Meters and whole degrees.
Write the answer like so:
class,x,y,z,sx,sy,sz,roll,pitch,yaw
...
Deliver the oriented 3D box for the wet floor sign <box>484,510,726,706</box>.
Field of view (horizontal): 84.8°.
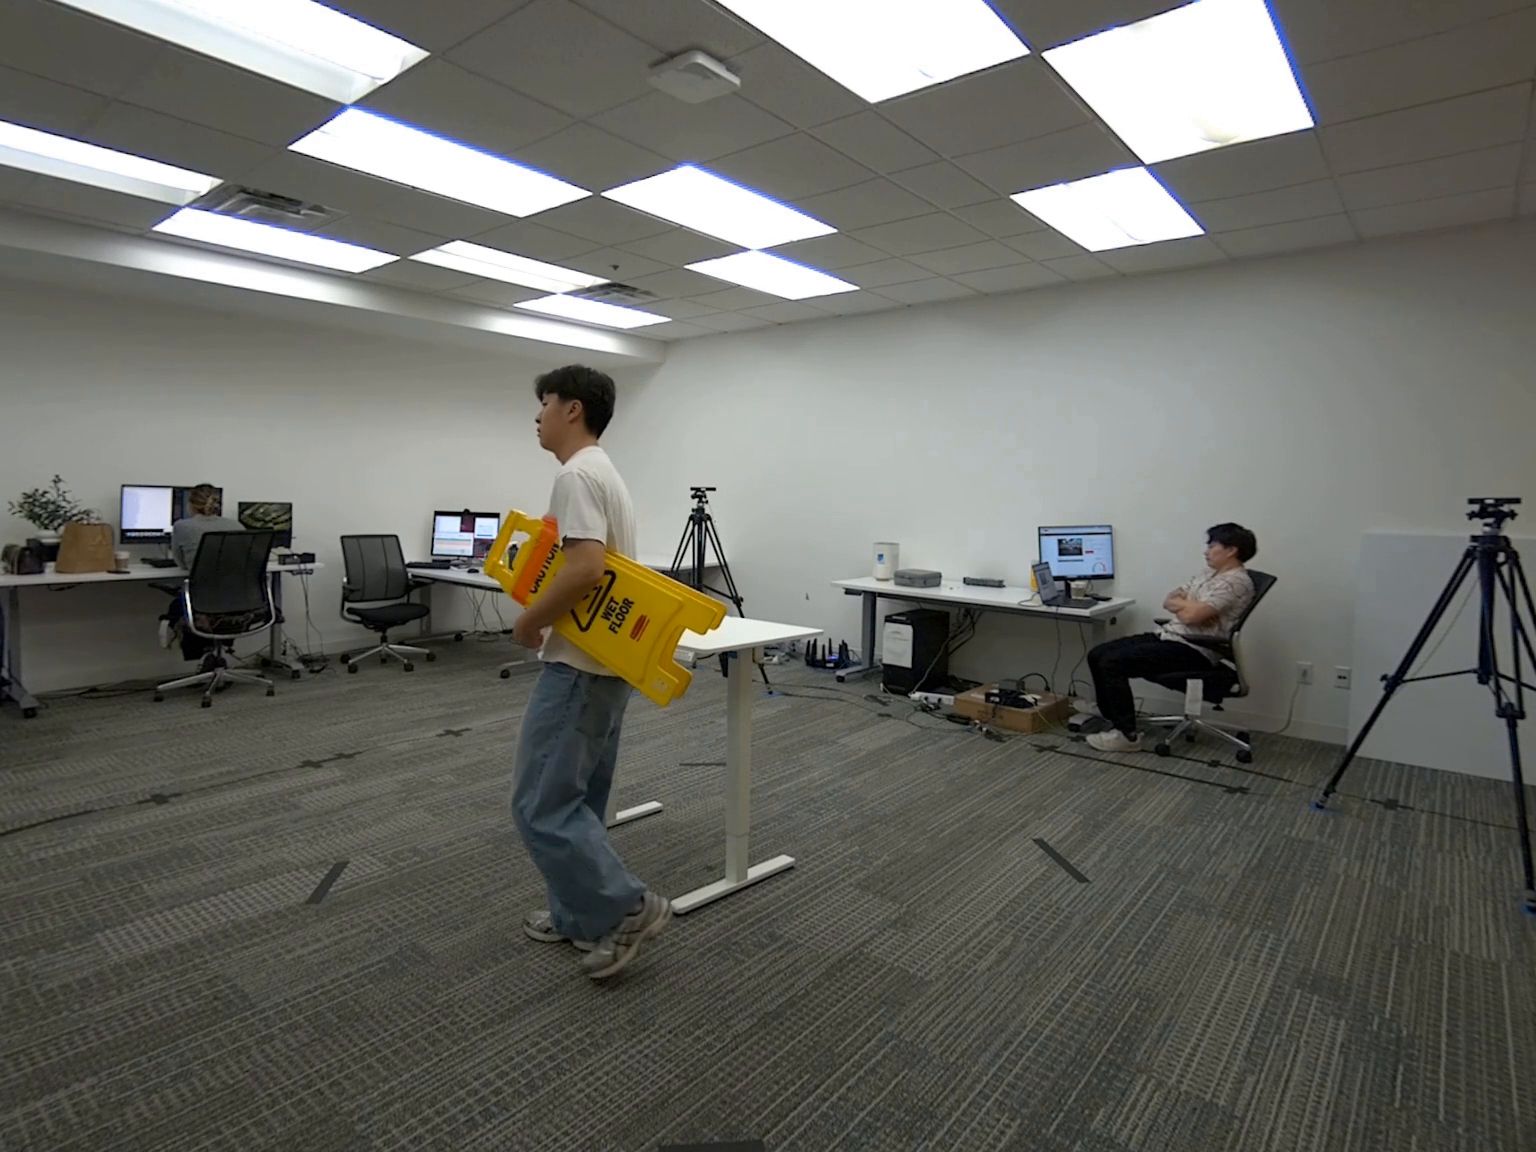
class,x,y,z,sx,sy,sz,roll,pitch,yaw
wet floor sign,-0.479,0.062,2.267,0.656,0.281,0.286,28,6,11
